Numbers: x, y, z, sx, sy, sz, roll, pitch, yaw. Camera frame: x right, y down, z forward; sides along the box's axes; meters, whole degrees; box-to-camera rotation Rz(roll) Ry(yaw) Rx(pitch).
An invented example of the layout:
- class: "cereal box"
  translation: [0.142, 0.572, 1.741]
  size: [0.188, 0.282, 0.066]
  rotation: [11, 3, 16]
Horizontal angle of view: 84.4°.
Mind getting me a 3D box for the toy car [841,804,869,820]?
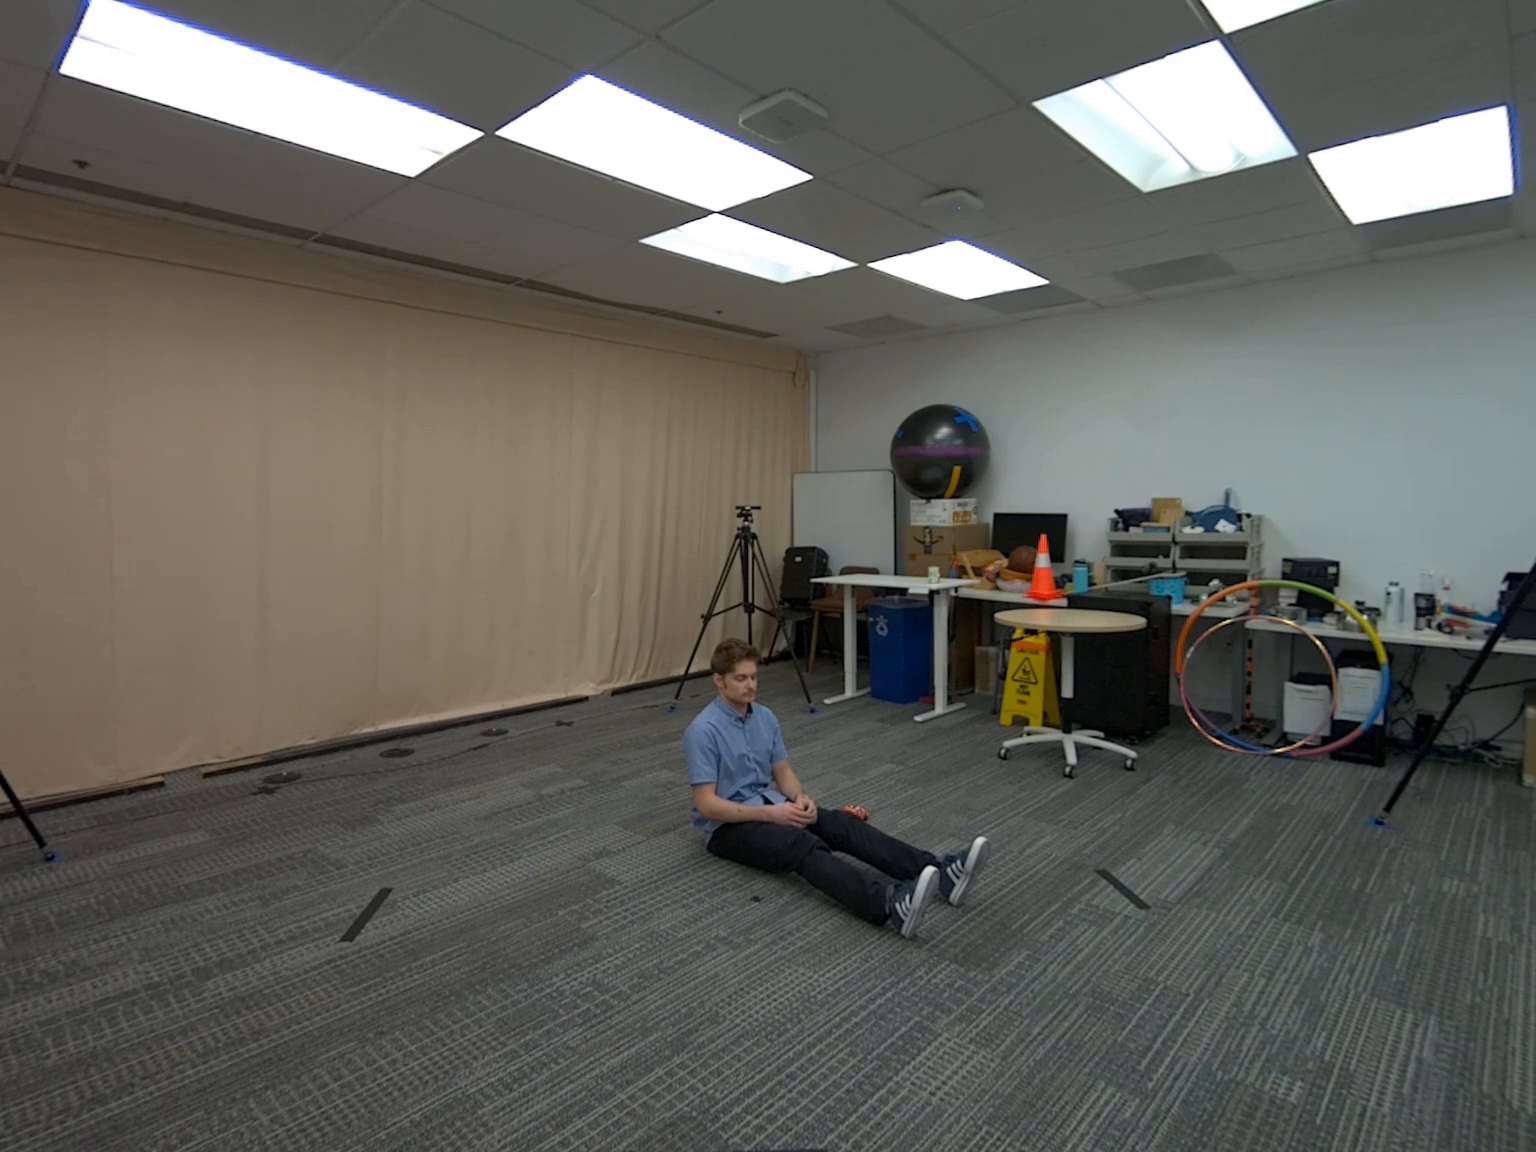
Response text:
- class: "toy car"
  translation: [0.367, 1.051, 3.673]
  size: [0.133, 0.083, 0.248]
  rotation: [5, -9, 17]
